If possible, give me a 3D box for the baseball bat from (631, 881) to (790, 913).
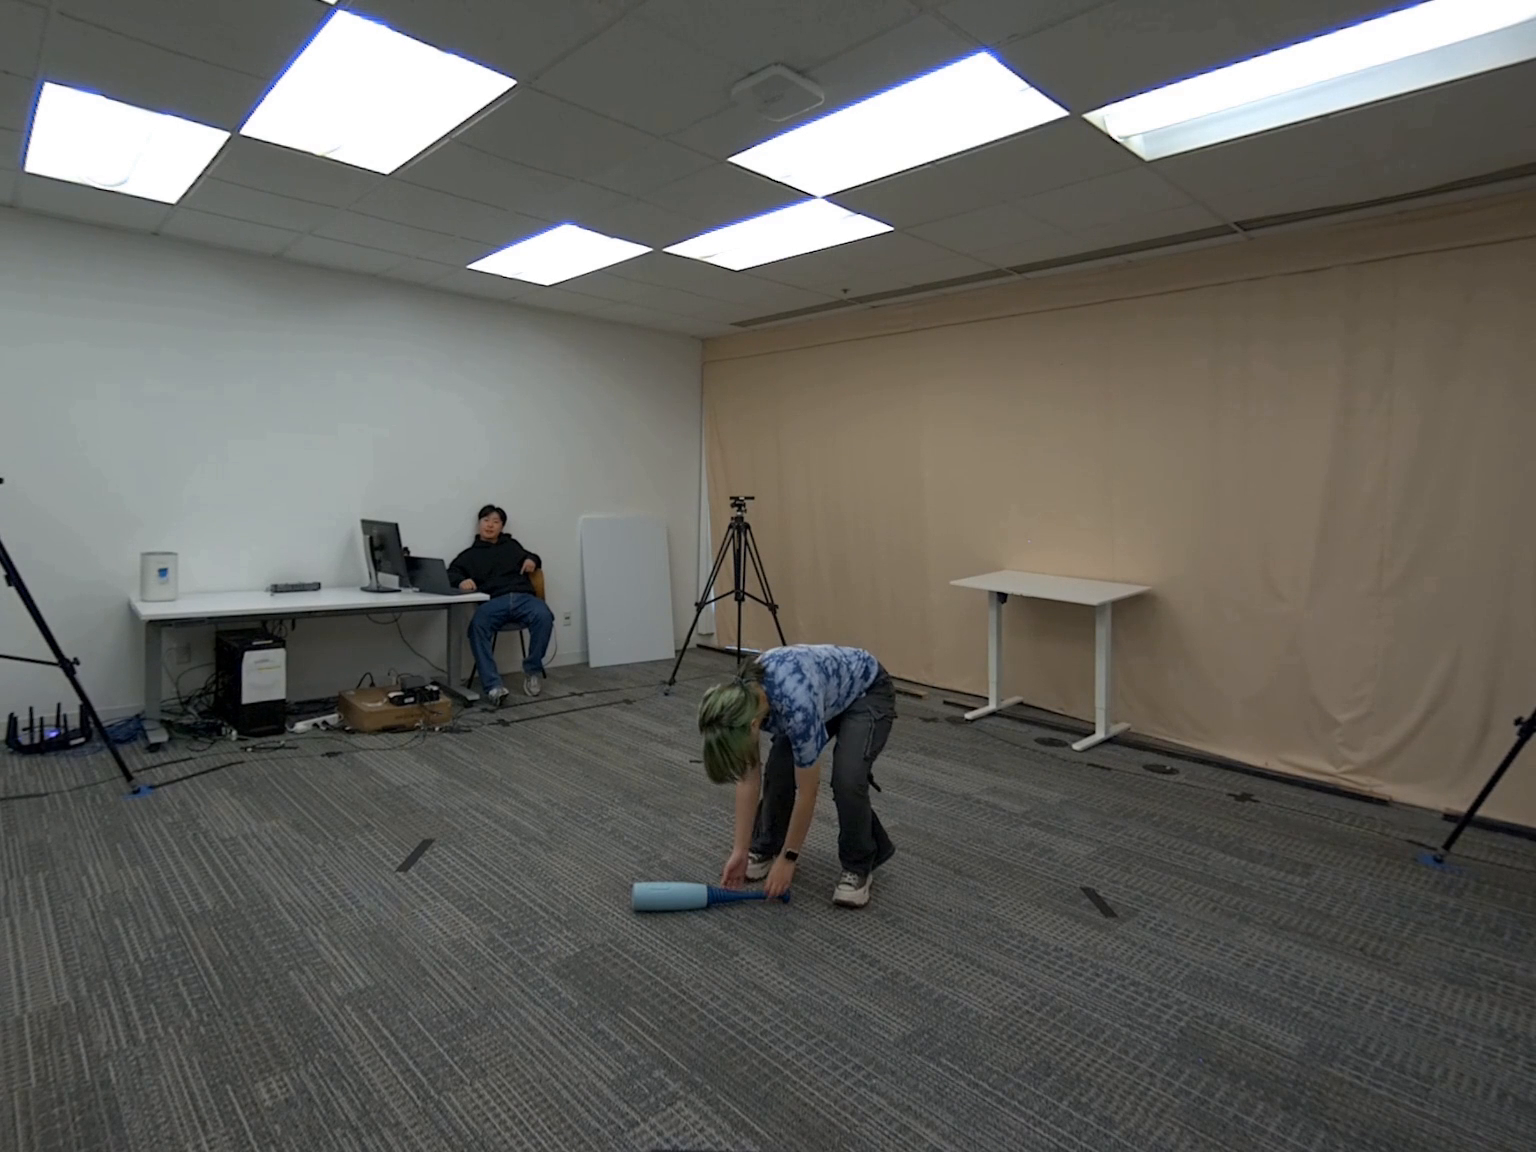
[{"bbox_3d":[-0.190,1.086,2.854,0.539,0.089,0.090,3,4,-8],"label":"baseball bat"}]
